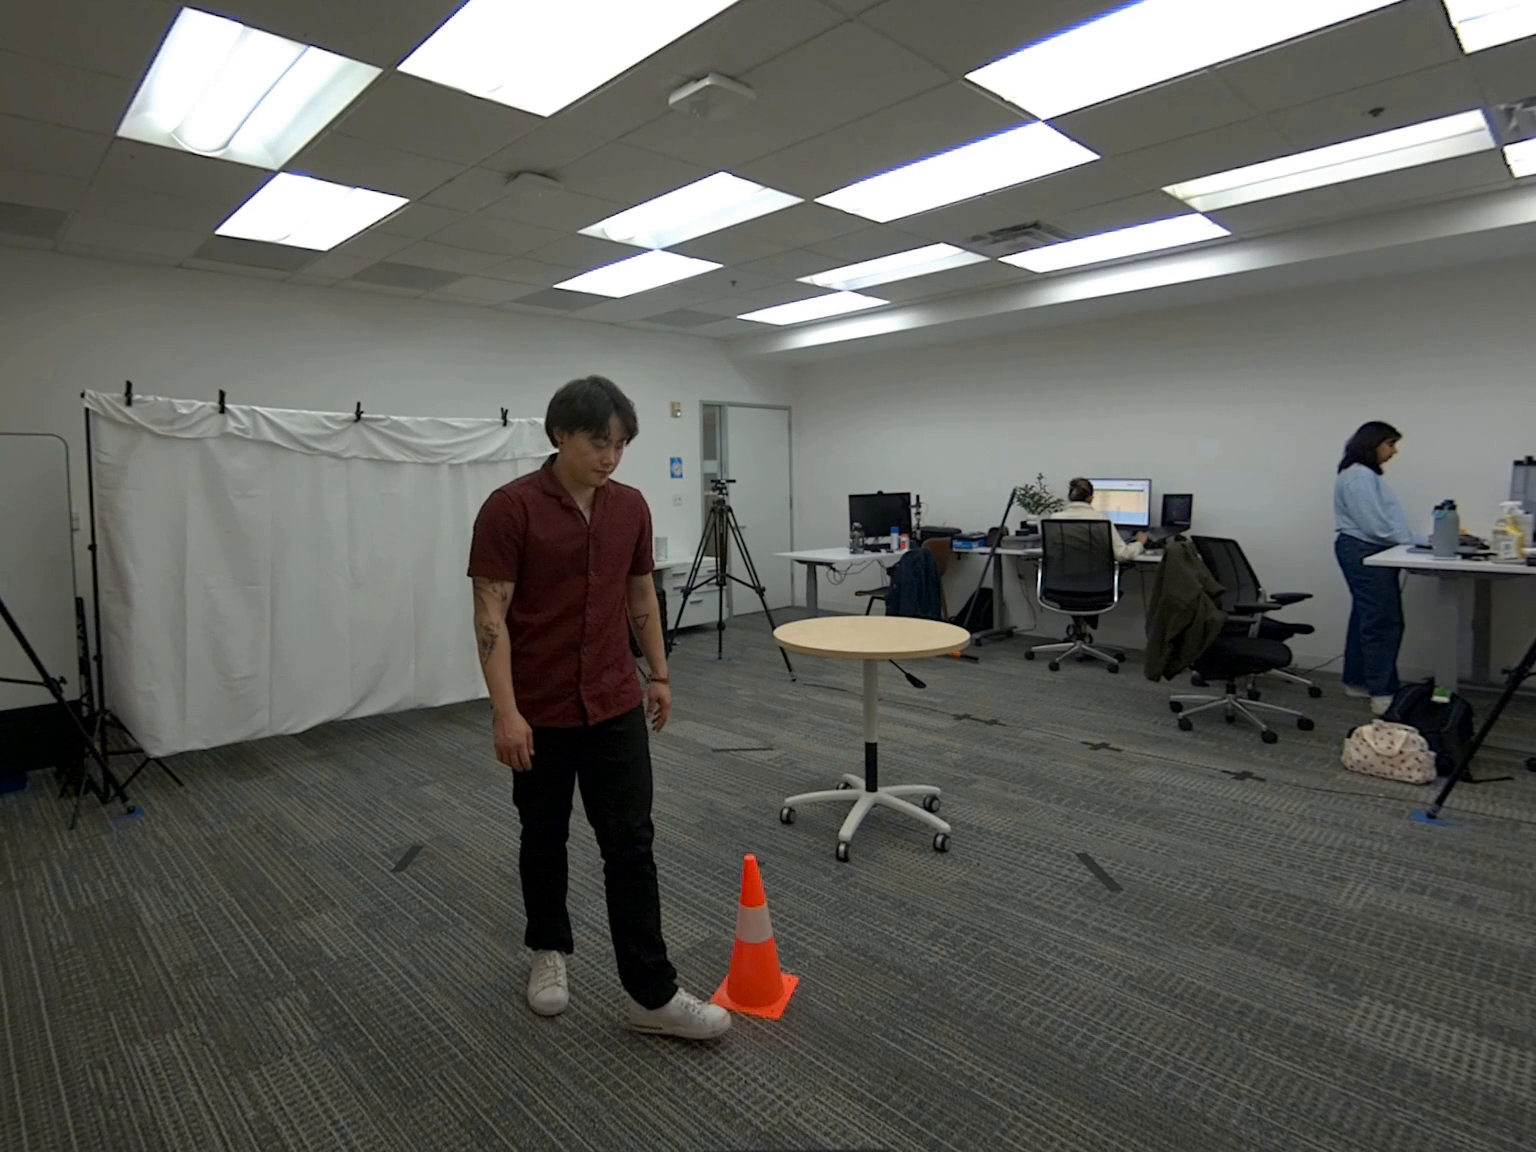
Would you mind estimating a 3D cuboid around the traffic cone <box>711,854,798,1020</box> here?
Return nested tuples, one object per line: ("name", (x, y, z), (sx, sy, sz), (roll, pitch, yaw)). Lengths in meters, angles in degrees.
("traffic cone", (-0.031, 0.952, 2.317), (0.209, 0.382, 0.200), (0, 5, 20))
